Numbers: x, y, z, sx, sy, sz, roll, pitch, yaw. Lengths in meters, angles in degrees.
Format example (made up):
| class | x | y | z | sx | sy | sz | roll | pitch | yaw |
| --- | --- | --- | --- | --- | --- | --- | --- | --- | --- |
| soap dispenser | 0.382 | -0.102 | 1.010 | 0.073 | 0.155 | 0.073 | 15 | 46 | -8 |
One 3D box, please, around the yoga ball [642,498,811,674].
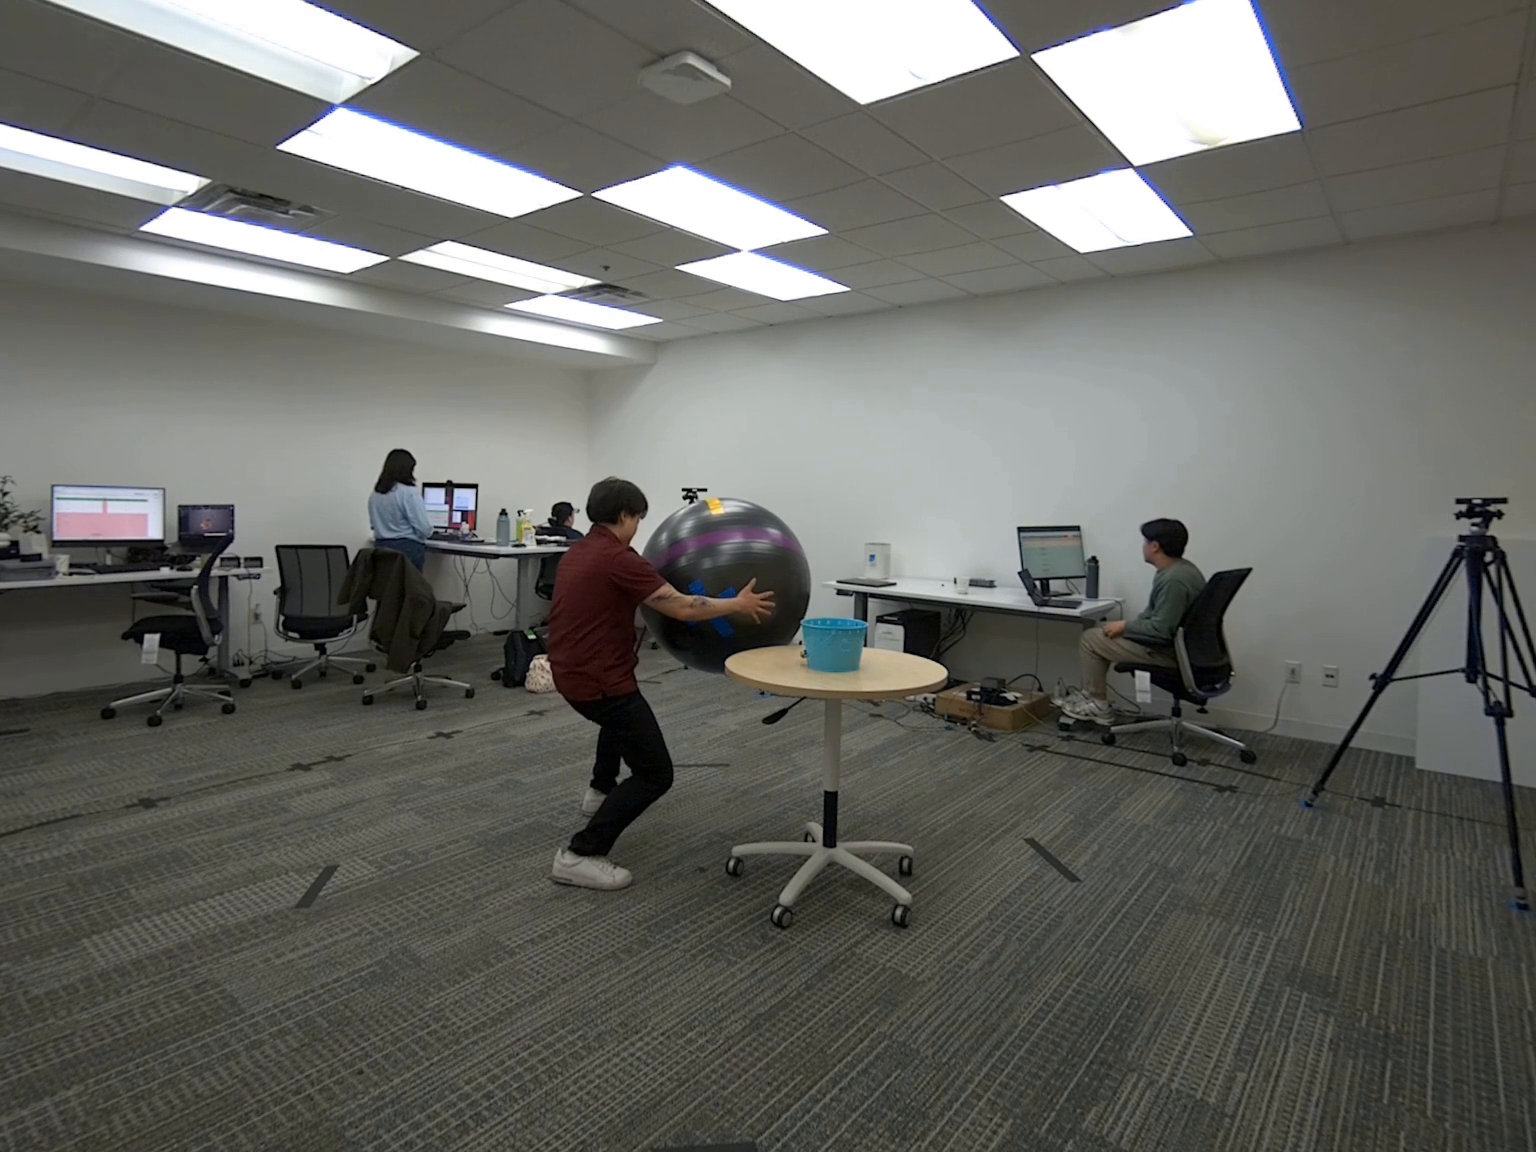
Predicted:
| class | x | y | z | sx | sy | sz | roll | pitch | yaw |
| --- | --- | --- | --- | --- | --- | --- | --- | --- | --- |
| yoga ball | -0.202 | 0.039 | 3.723 | 0.757 | 0.756 | 0.761 | 1 | 4 | -2 |
